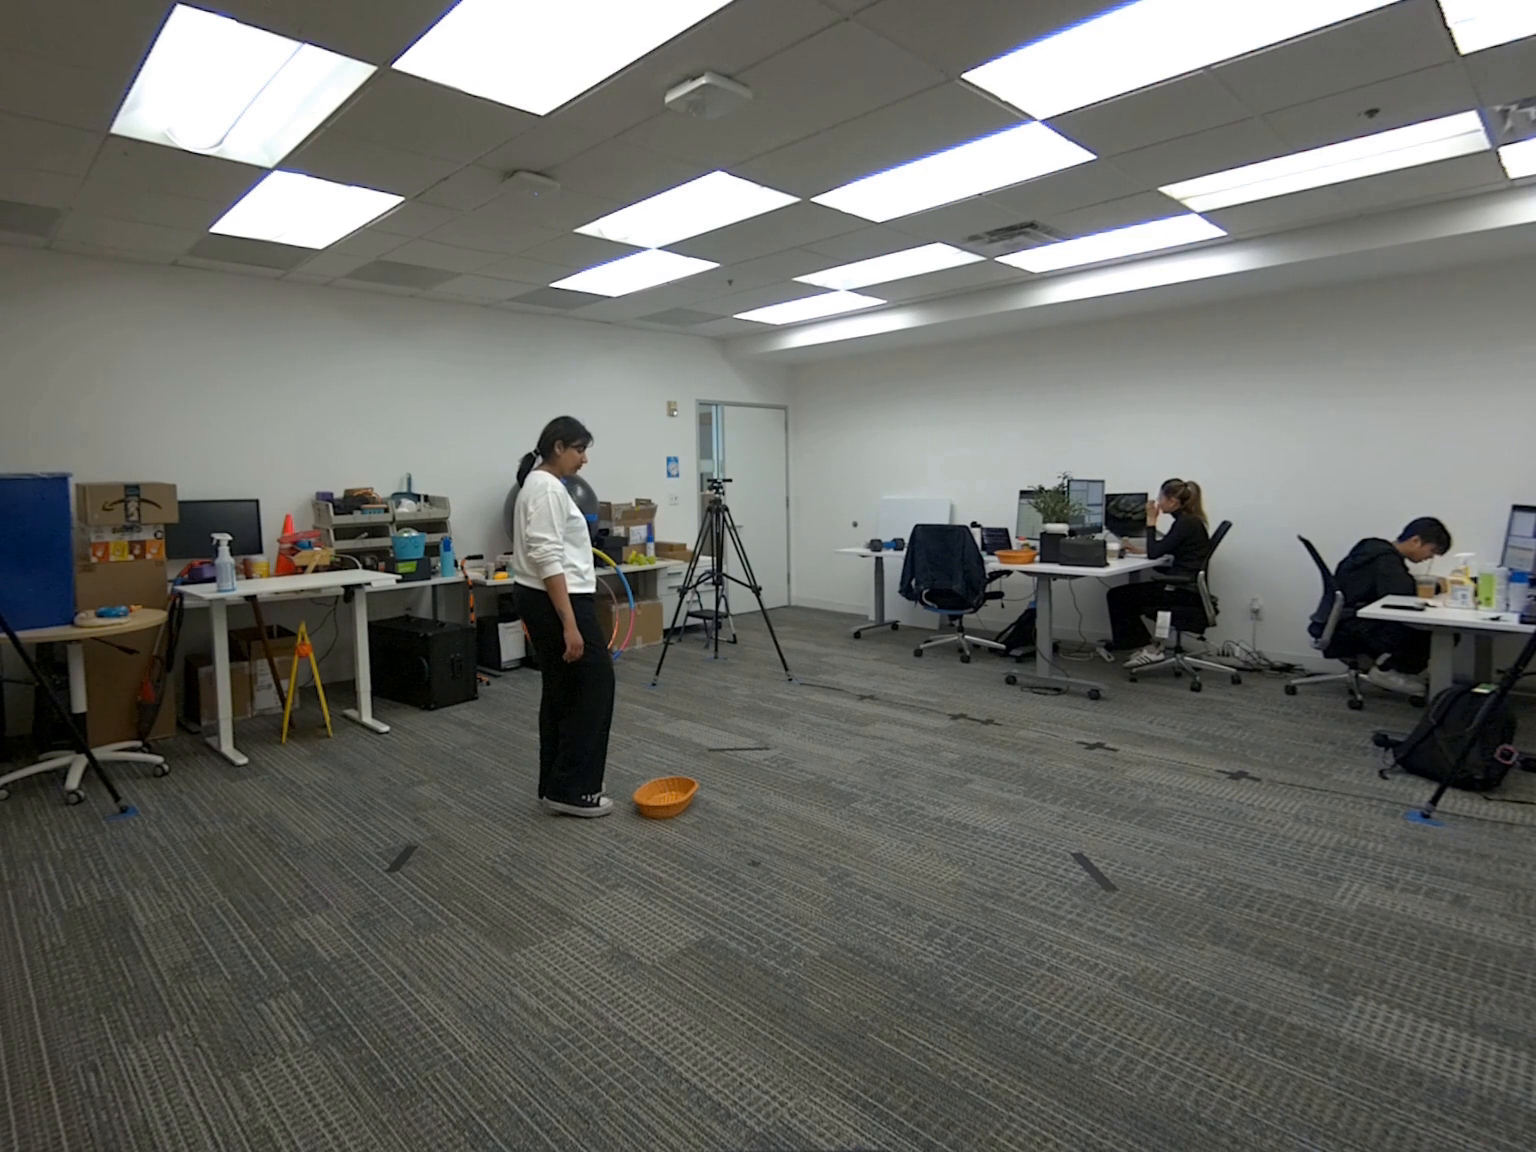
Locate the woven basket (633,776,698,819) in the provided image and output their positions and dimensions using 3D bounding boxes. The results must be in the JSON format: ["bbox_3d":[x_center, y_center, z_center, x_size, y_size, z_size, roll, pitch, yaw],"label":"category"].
[{"bbox_3d":[-0.439,0.947,3.667,0.257,0.073,0.345,0,7,21],"label":"woven basket"}]
